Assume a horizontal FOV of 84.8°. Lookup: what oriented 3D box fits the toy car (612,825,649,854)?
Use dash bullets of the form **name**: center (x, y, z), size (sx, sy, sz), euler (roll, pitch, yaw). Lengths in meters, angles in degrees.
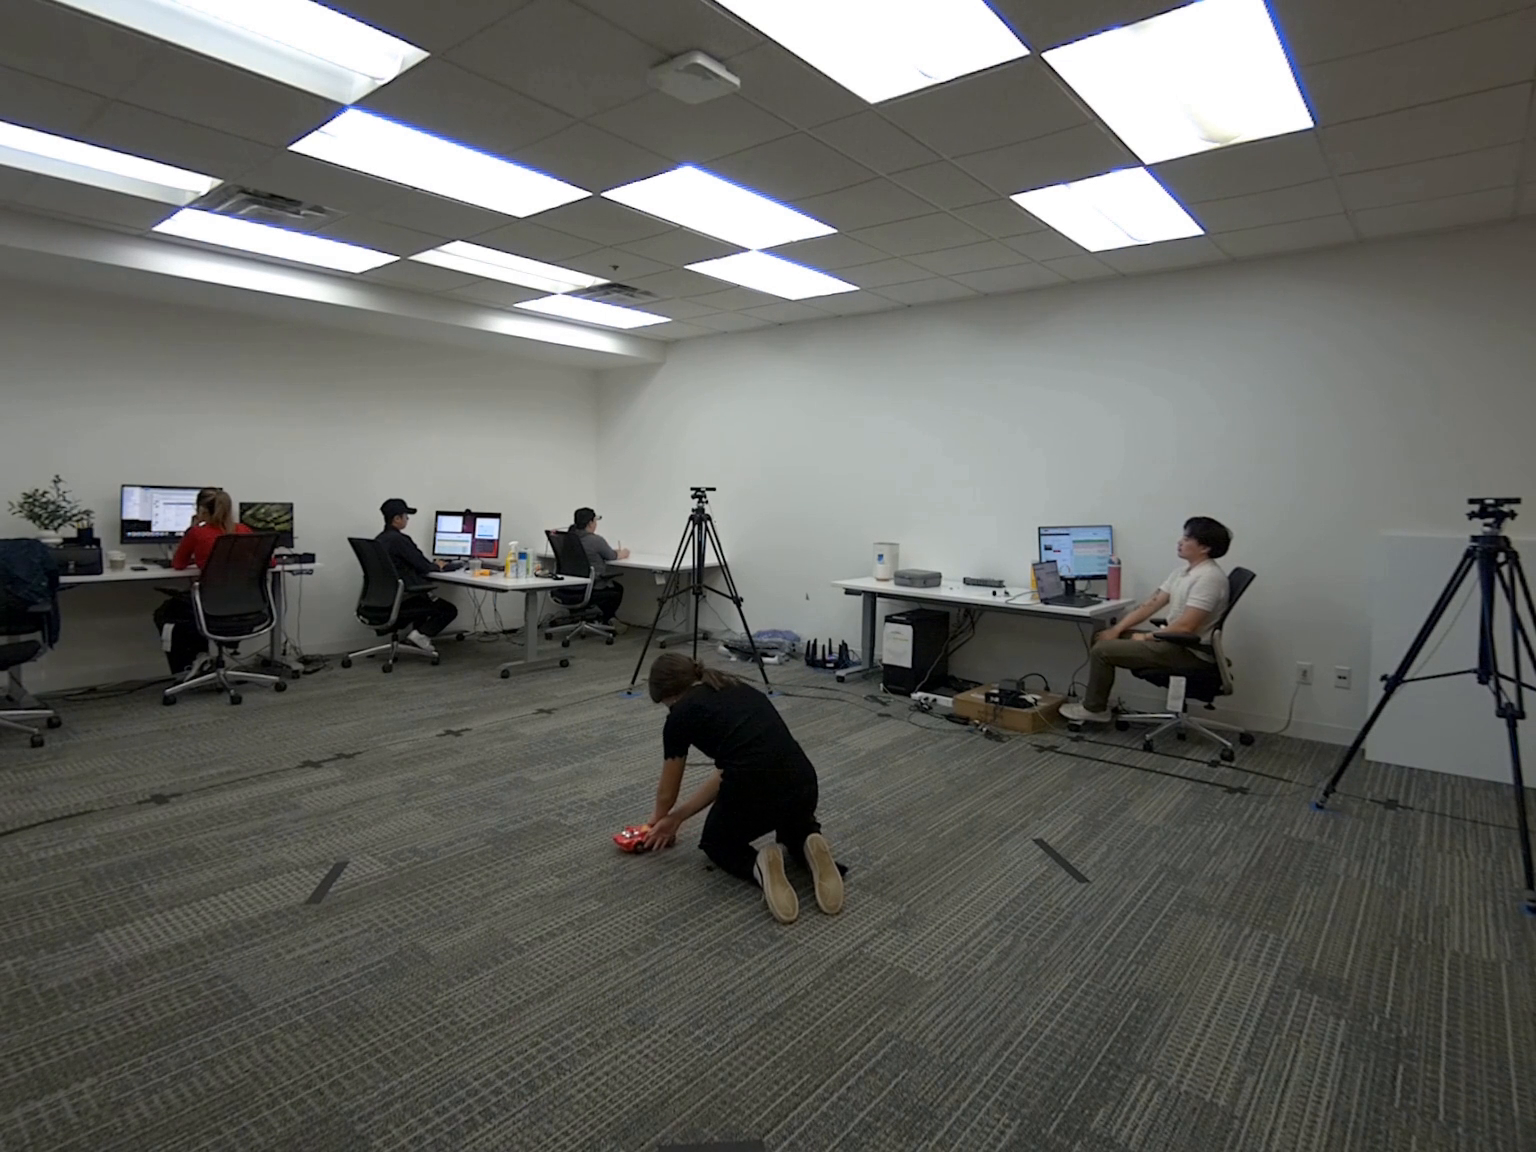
- **toy car**: center (-0.492, 1.011, 3.289), size (0.246, 0.083, 0.134), euler (11, -4, -37)
